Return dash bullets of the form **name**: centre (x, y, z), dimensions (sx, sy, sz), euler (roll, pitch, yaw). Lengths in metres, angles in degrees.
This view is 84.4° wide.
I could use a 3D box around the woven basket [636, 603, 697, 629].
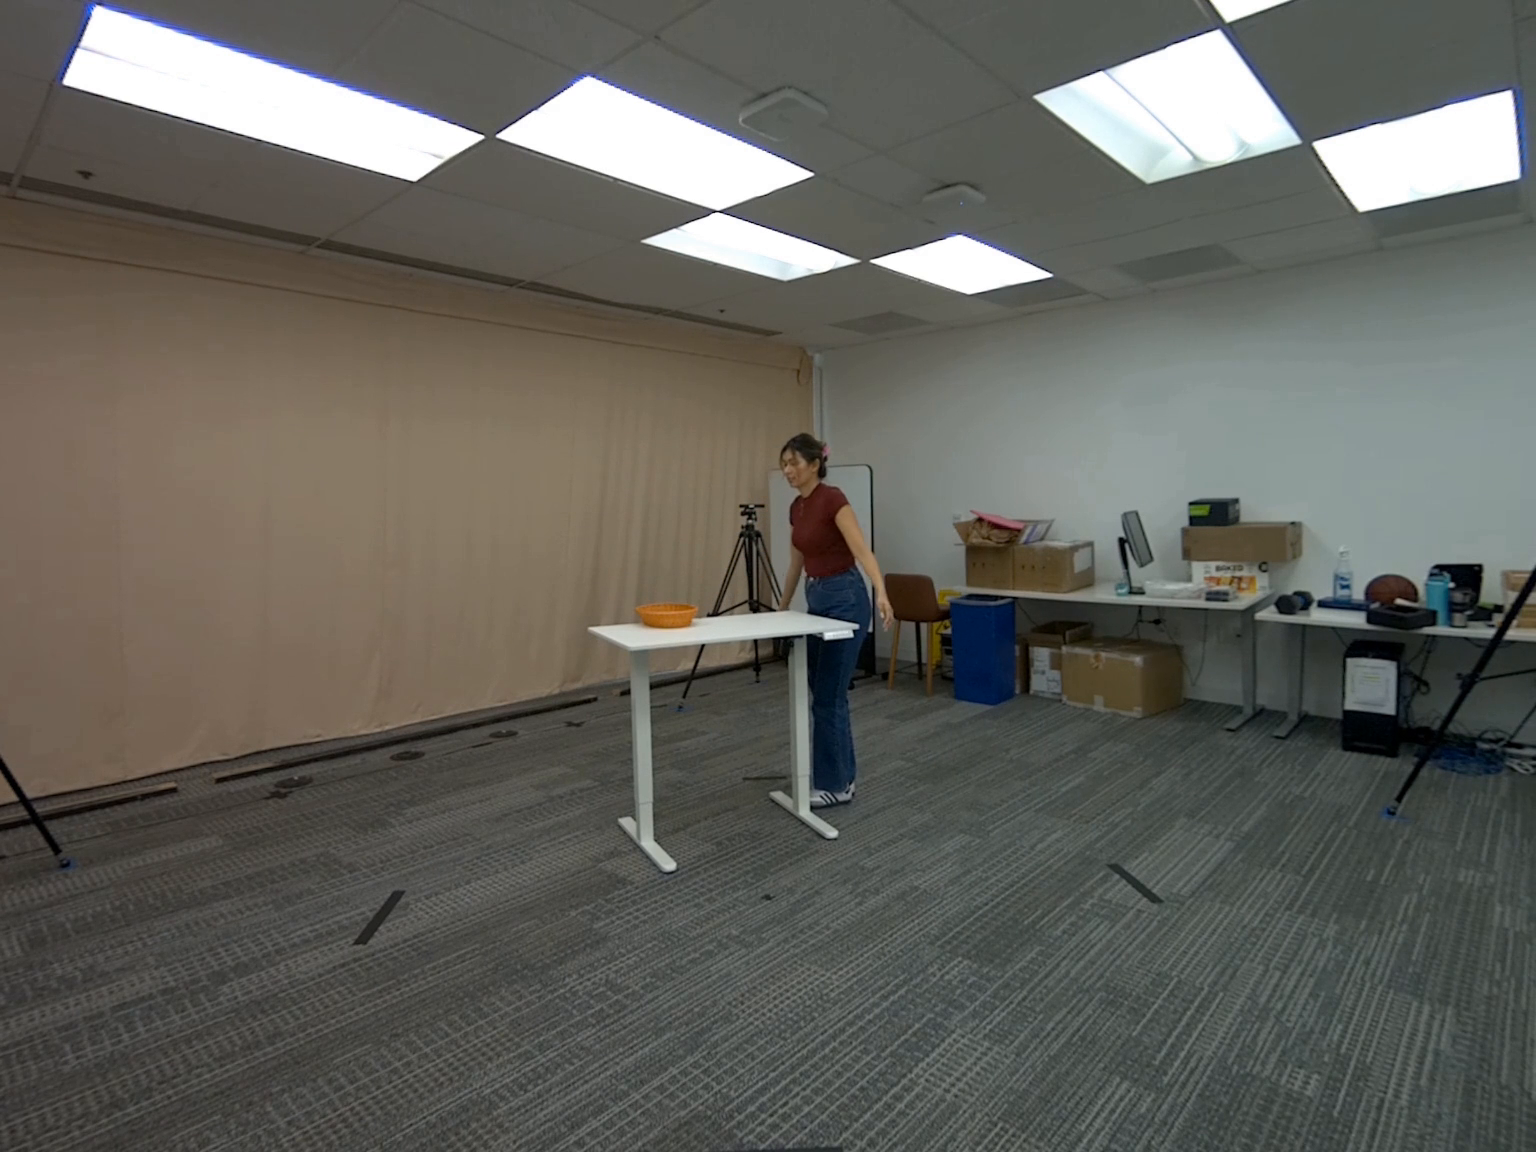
- **woven basket**: centre (-0.460, 0.181, 3.691), dimensions (0.247, 0.073, 0.359), euler (-4, 5, -23)
